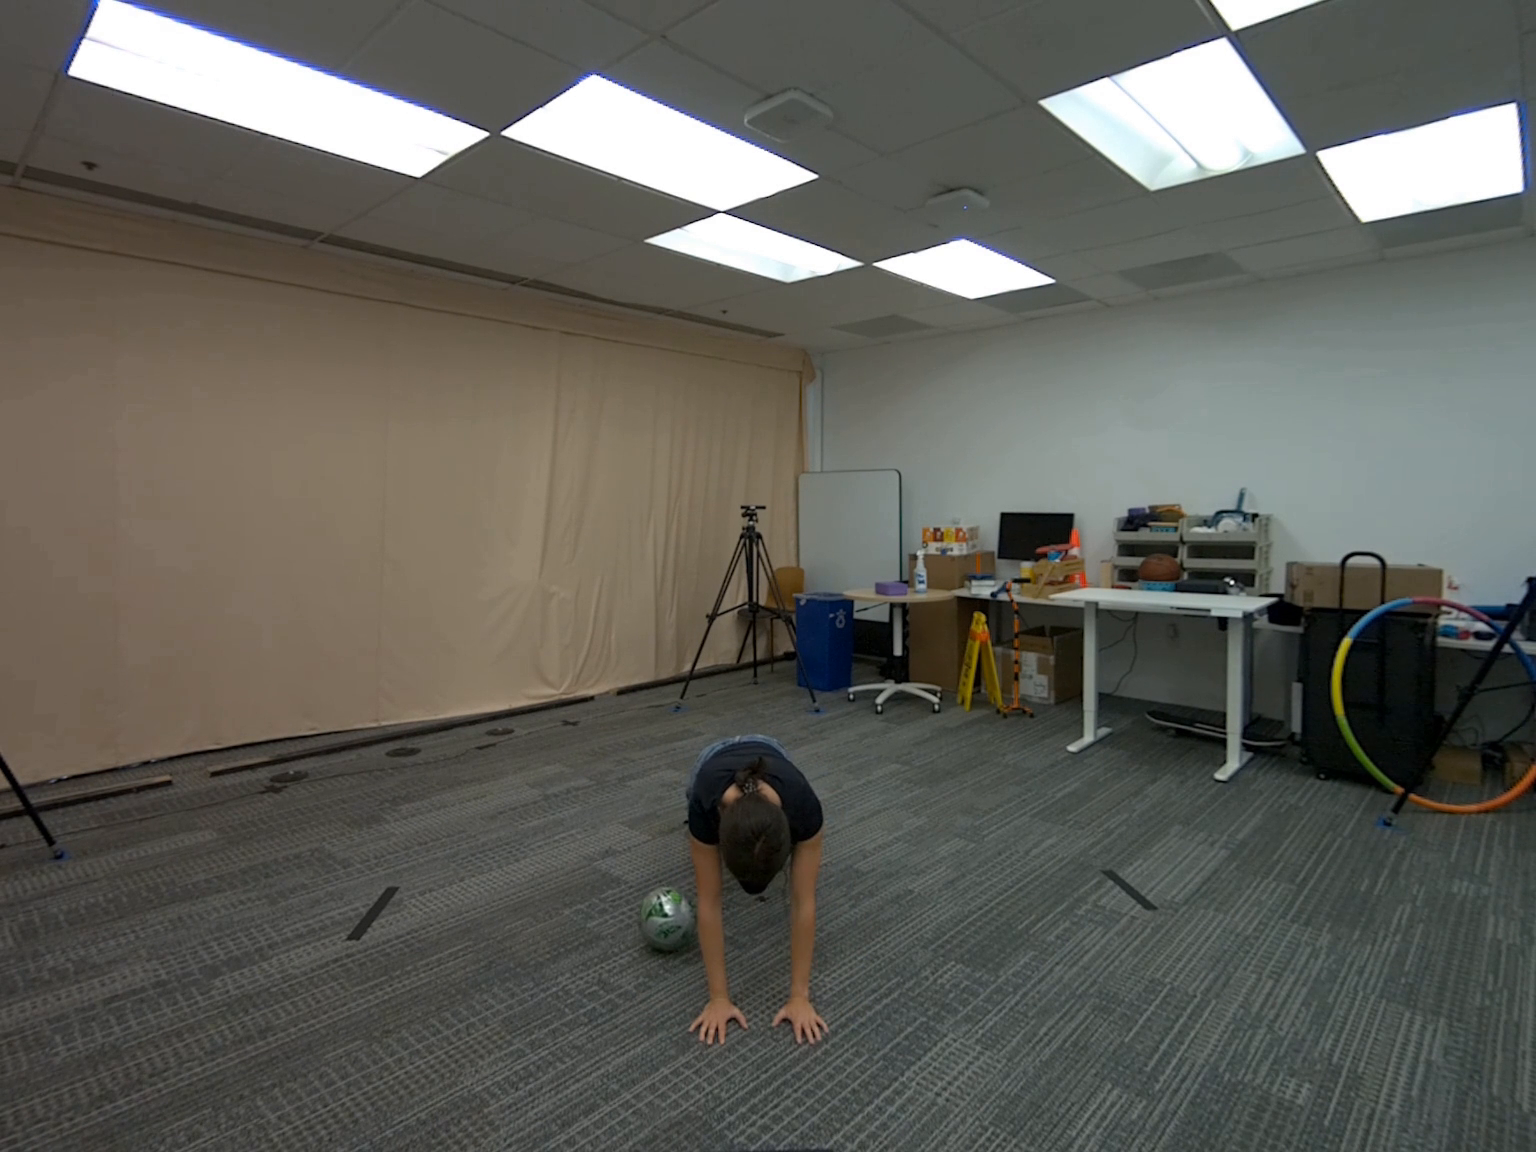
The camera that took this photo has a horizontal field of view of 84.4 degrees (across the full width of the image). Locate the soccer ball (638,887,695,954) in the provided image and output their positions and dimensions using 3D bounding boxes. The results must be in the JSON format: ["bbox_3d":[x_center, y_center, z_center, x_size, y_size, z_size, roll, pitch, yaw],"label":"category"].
[{"bbox_3d":[-0.316,1.077,2.653,0.187,0.187,0.188,0,4,-2],"label":"soccer ball"}]
